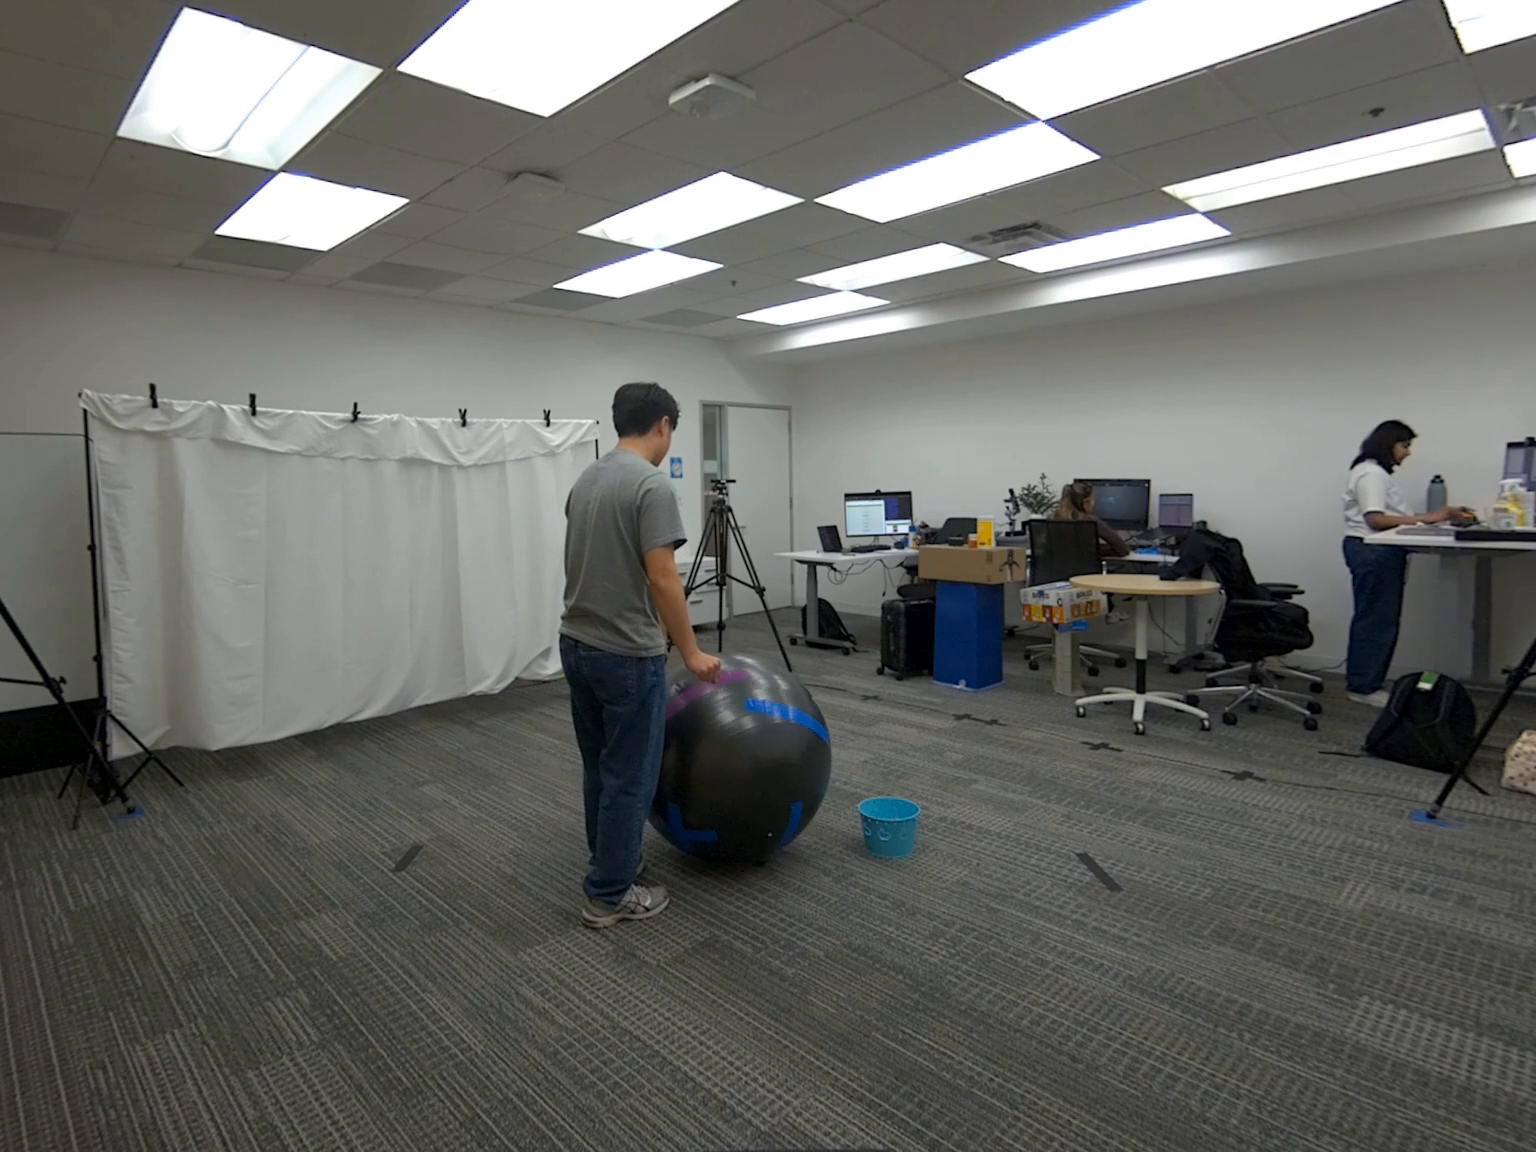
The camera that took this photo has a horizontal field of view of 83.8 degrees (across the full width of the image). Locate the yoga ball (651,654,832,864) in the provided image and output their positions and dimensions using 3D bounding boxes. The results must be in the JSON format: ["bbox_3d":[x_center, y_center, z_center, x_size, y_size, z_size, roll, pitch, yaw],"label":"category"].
[{"bbox_3d":[-0.145,0.671,3.198,0.757,0.755,0.762,-1,5,-2],"label":"yoga ball"}]
